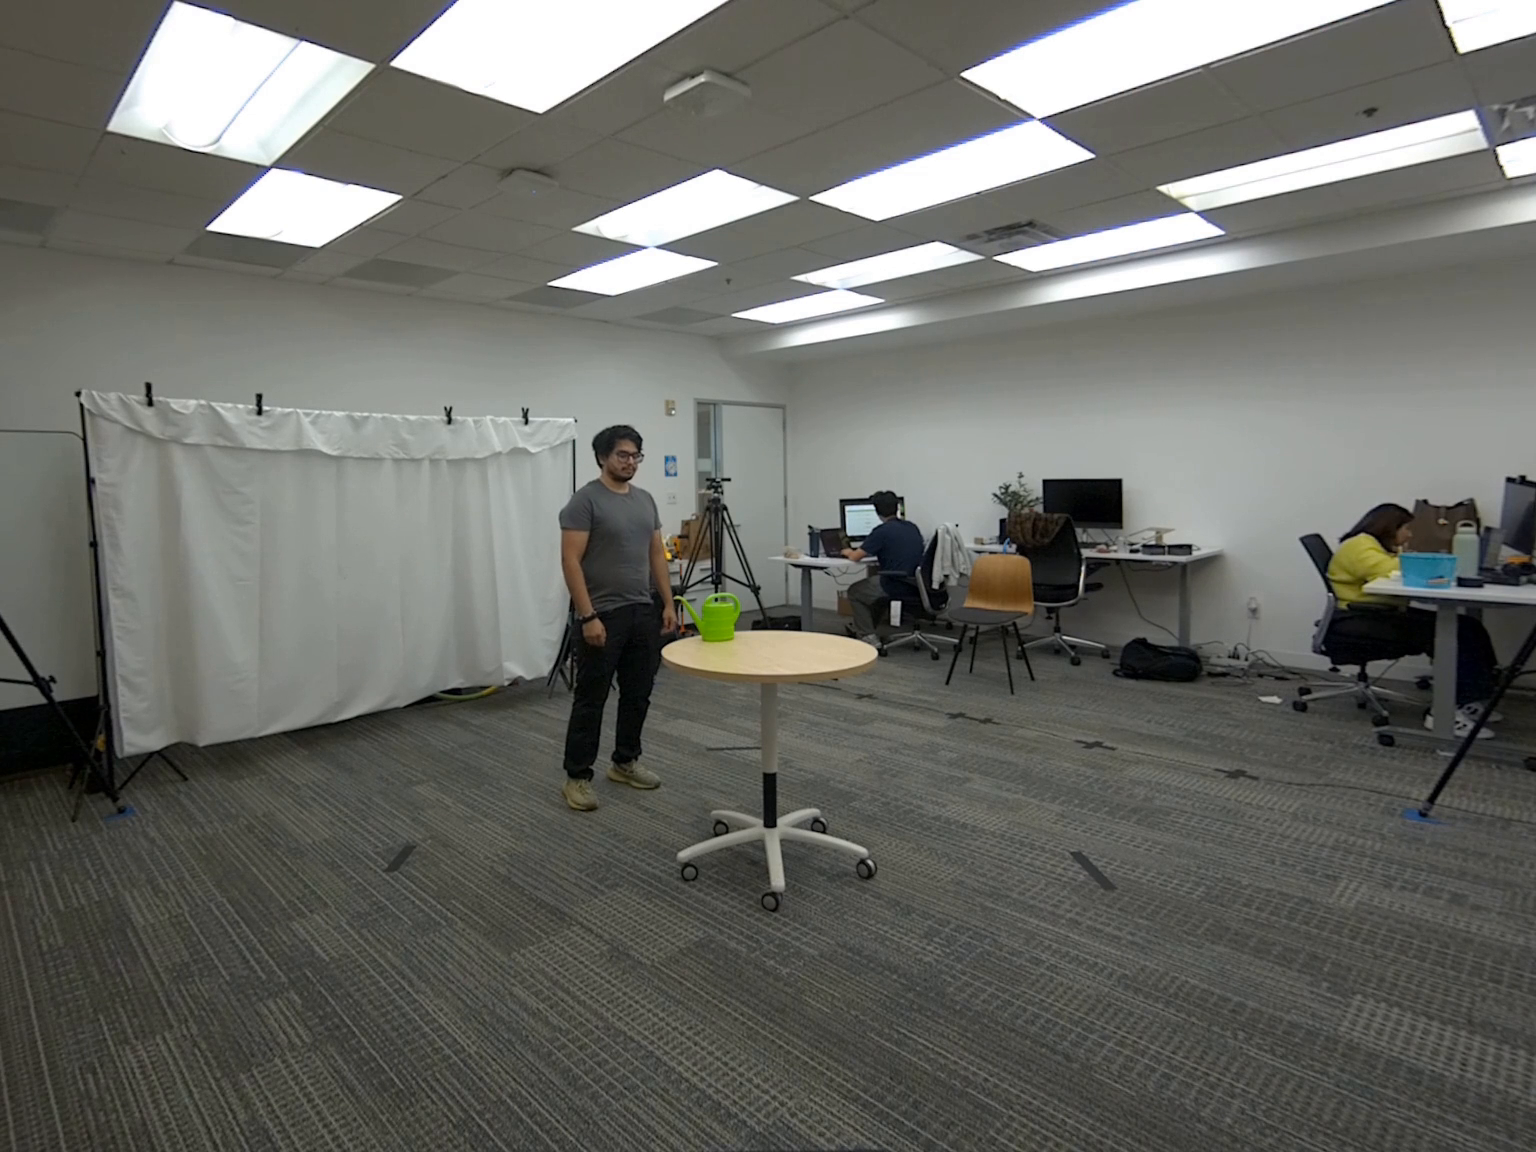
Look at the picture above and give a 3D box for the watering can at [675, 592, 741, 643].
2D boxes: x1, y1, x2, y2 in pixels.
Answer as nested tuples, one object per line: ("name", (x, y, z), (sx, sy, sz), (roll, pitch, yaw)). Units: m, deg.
("watering can", (-0.229, 0.157, 3.235), (0.274, 0.176, 0.100), (-1, 4, -16))
